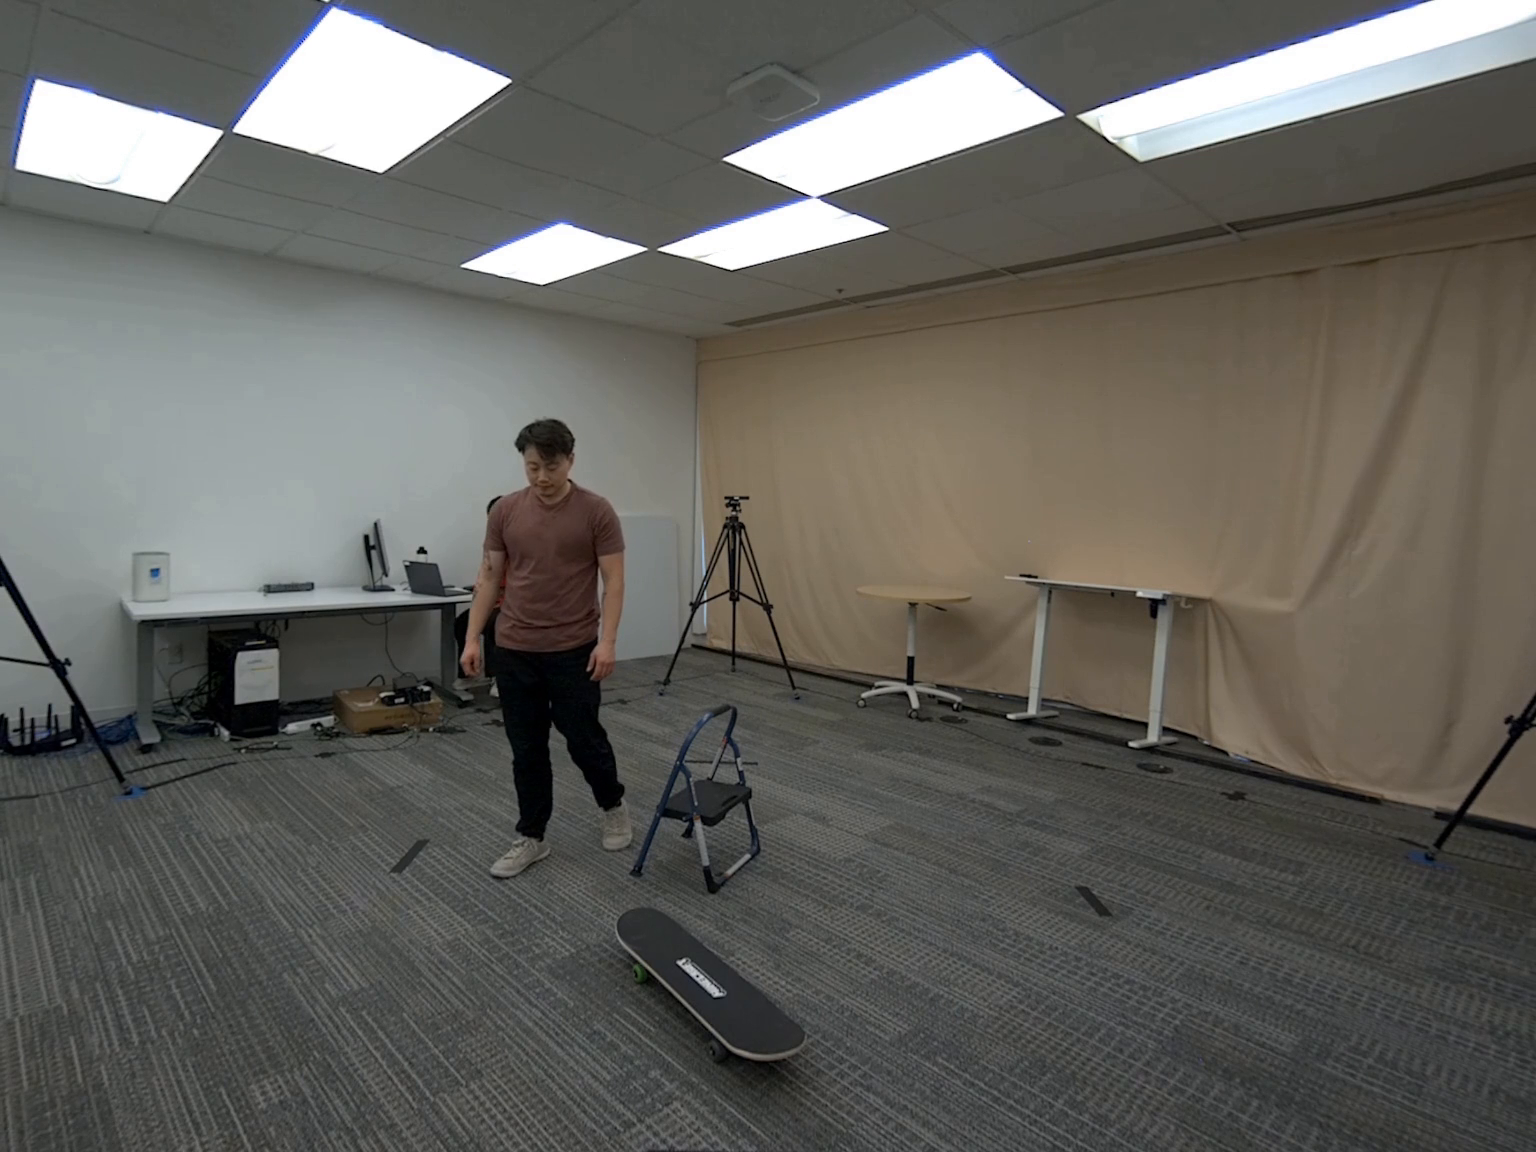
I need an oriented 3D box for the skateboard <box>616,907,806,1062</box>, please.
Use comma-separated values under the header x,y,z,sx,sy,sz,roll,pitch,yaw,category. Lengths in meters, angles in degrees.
x,y,z,sx,sy,sz,roll,pitch,yaw,category
-0.197,1.128,2.286,0.189,0.110,0.805,-3,7,-36,skateboard
